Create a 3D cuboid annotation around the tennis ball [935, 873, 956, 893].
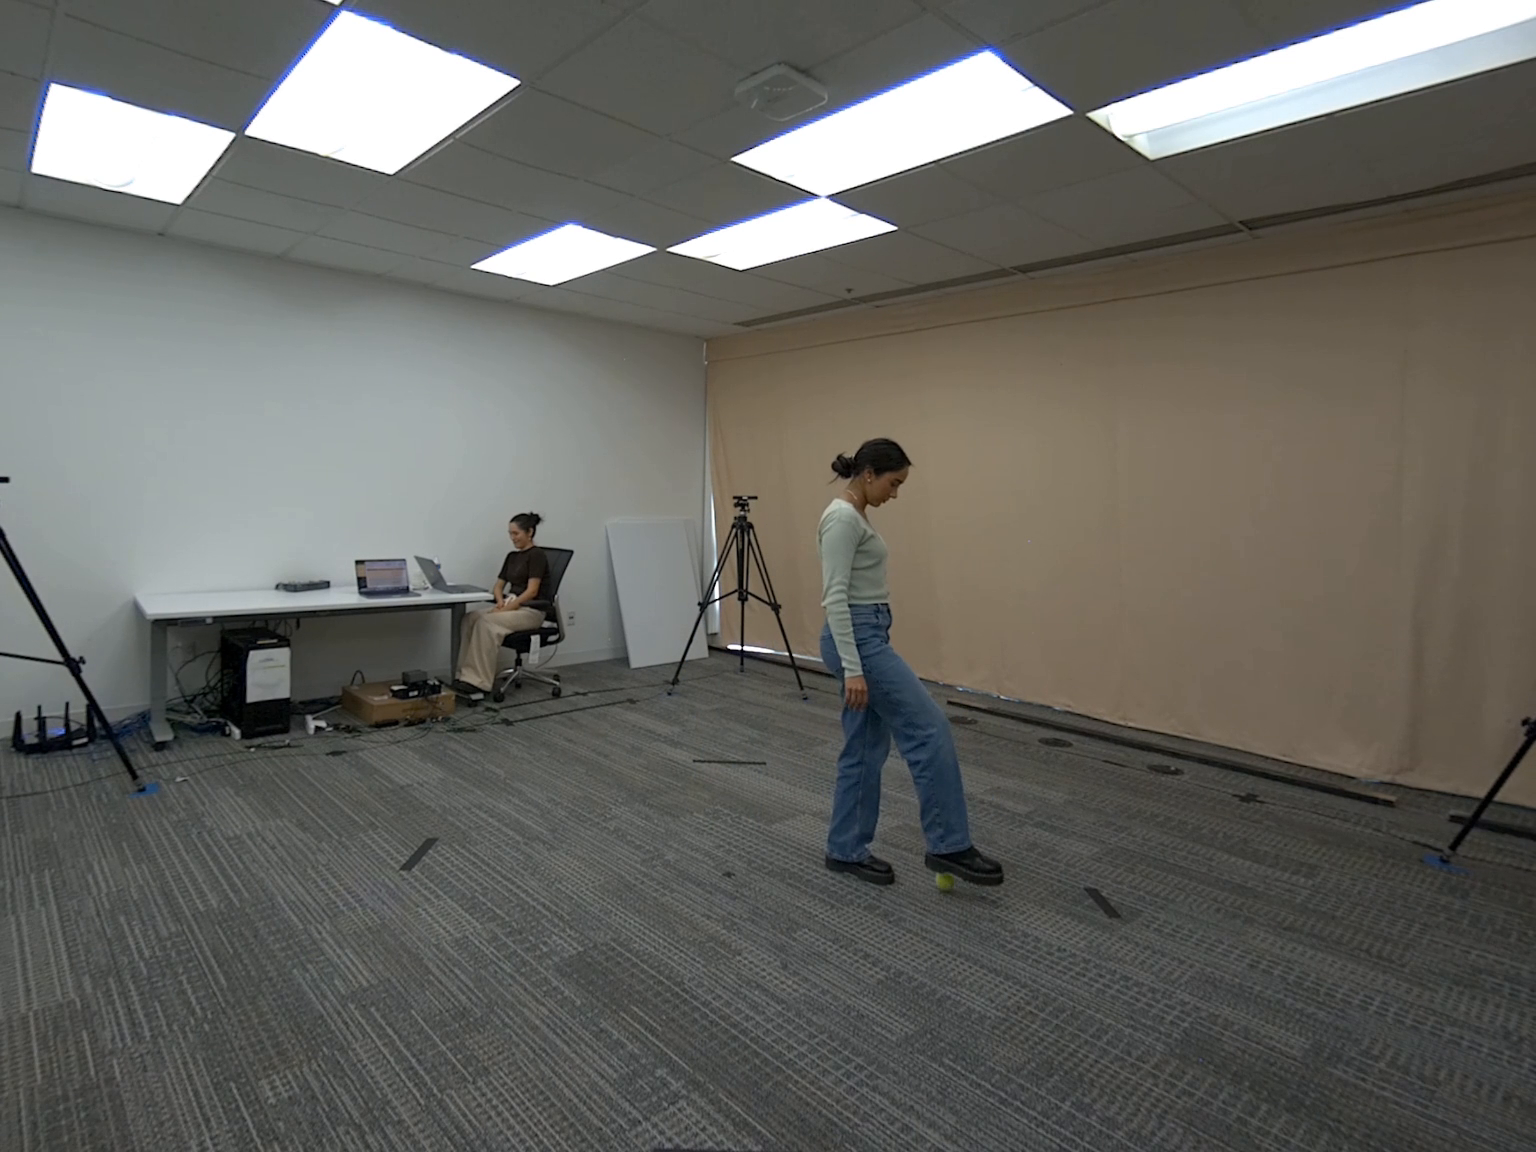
[{"bbox_3d":[0.645,1.068,2.999,0.066,0.066,0.067,1,4,-1],"label":"tennis ball"}]
